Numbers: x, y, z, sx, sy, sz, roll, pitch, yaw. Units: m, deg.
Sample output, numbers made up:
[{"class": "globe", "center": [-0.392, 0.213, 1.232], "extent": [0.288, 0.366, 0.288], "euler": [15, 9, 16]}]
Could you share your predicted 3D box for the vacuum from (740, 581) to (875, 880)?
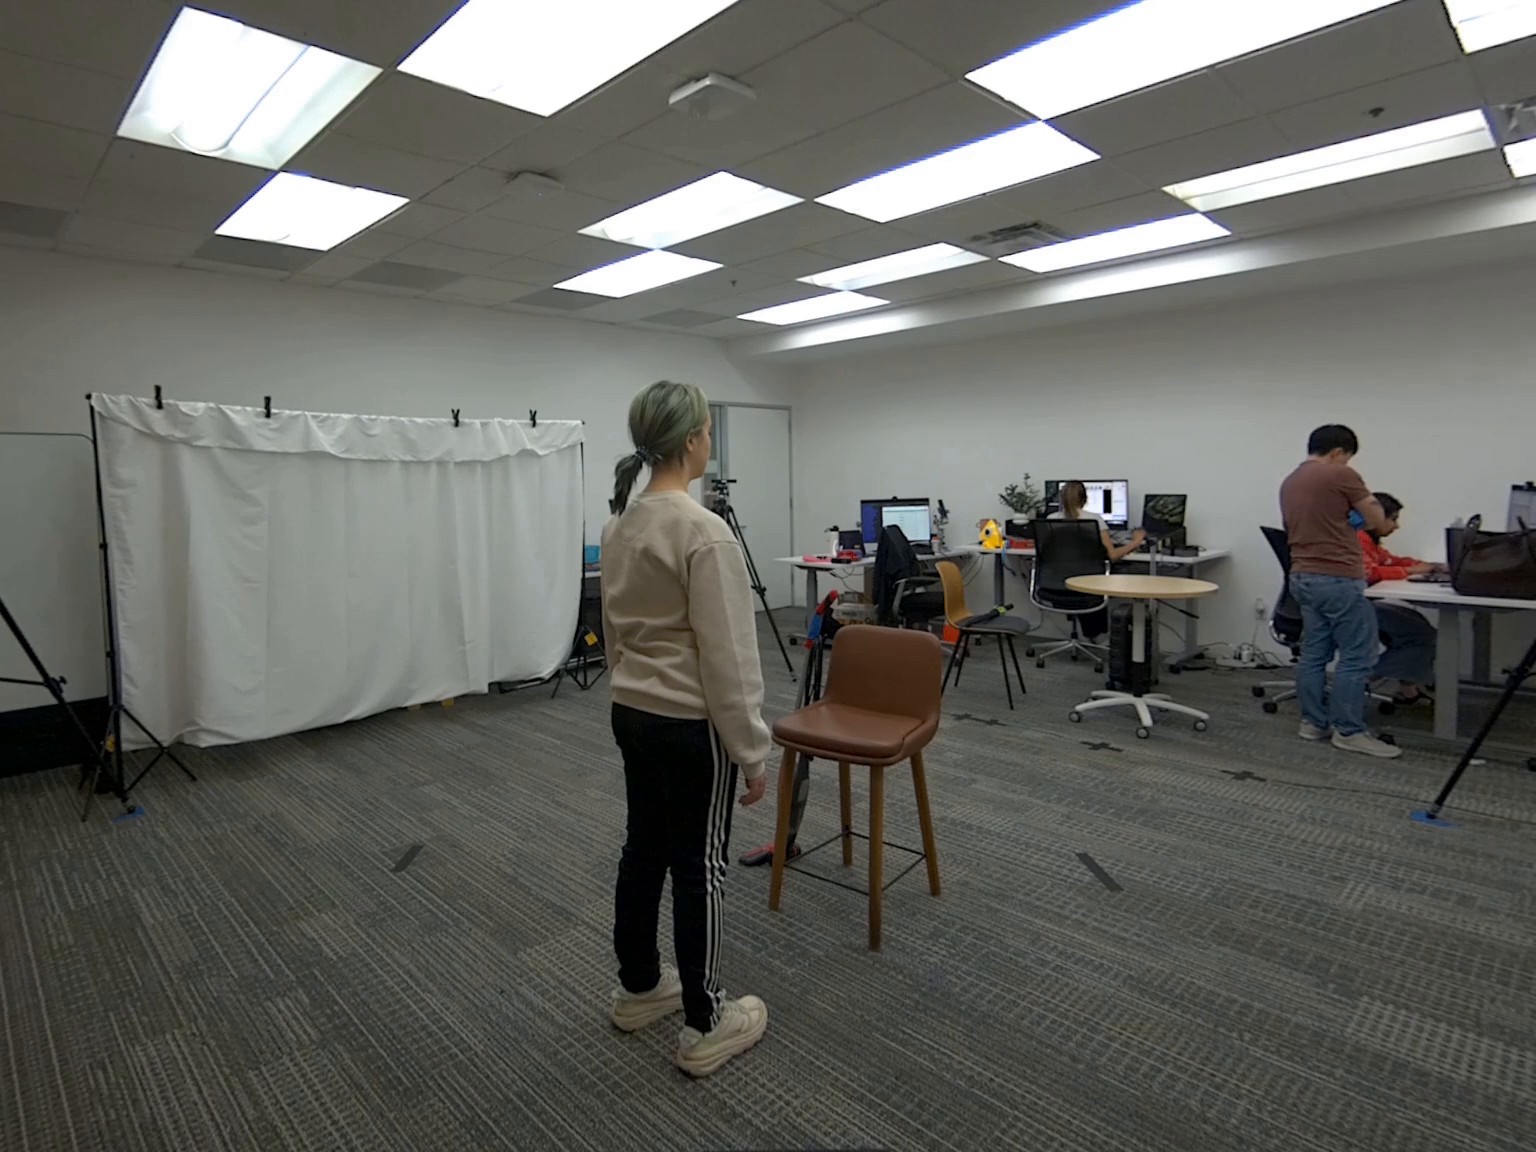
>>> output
[{"class": "vacuum", "center": [0.130, 0.544, 3.027], "extent": [0.246, 1.038, 0.149], "euler": [-2, 20, -40]}]
